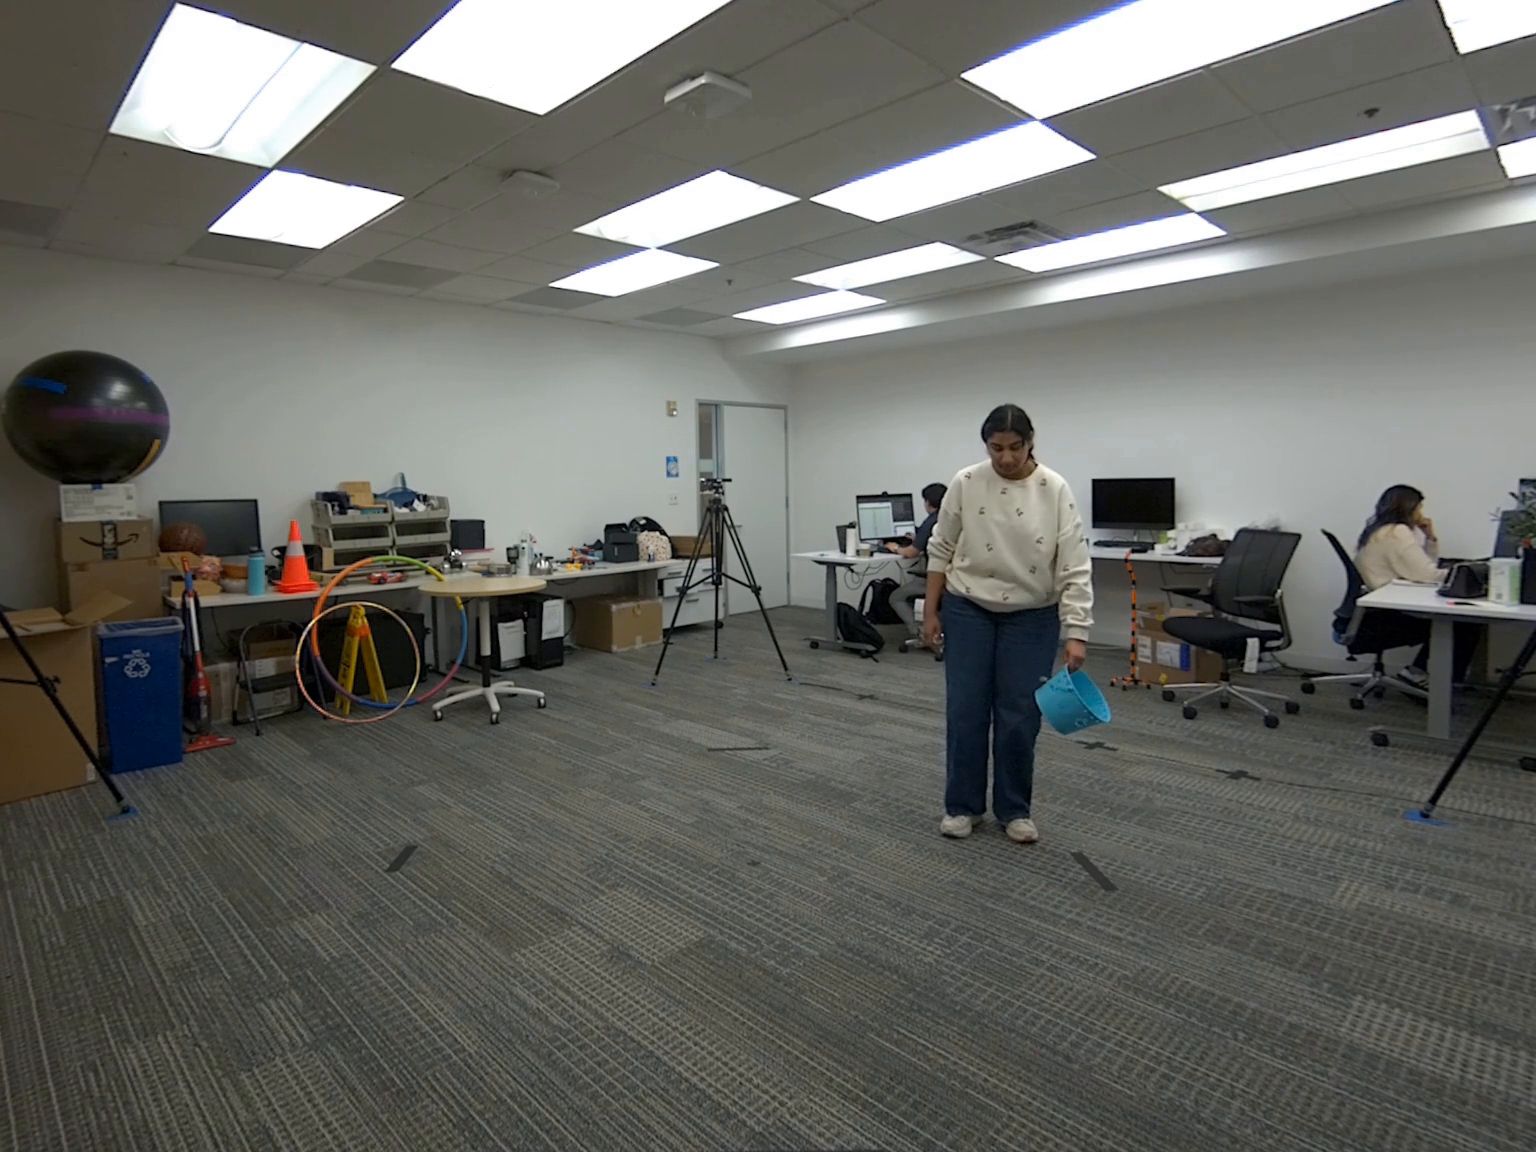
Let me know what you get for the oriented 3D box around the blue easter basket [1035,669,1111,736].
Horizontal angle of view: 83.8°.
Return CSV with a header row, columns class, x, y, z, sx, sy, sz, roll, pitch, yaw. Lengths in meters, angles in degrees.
class,x,y,z,sx,sy,sz,roll,pitch,yaw
blue easter basket,1.079,0.457,3.033,0.156,0.248,0.238,-39,-16,29
